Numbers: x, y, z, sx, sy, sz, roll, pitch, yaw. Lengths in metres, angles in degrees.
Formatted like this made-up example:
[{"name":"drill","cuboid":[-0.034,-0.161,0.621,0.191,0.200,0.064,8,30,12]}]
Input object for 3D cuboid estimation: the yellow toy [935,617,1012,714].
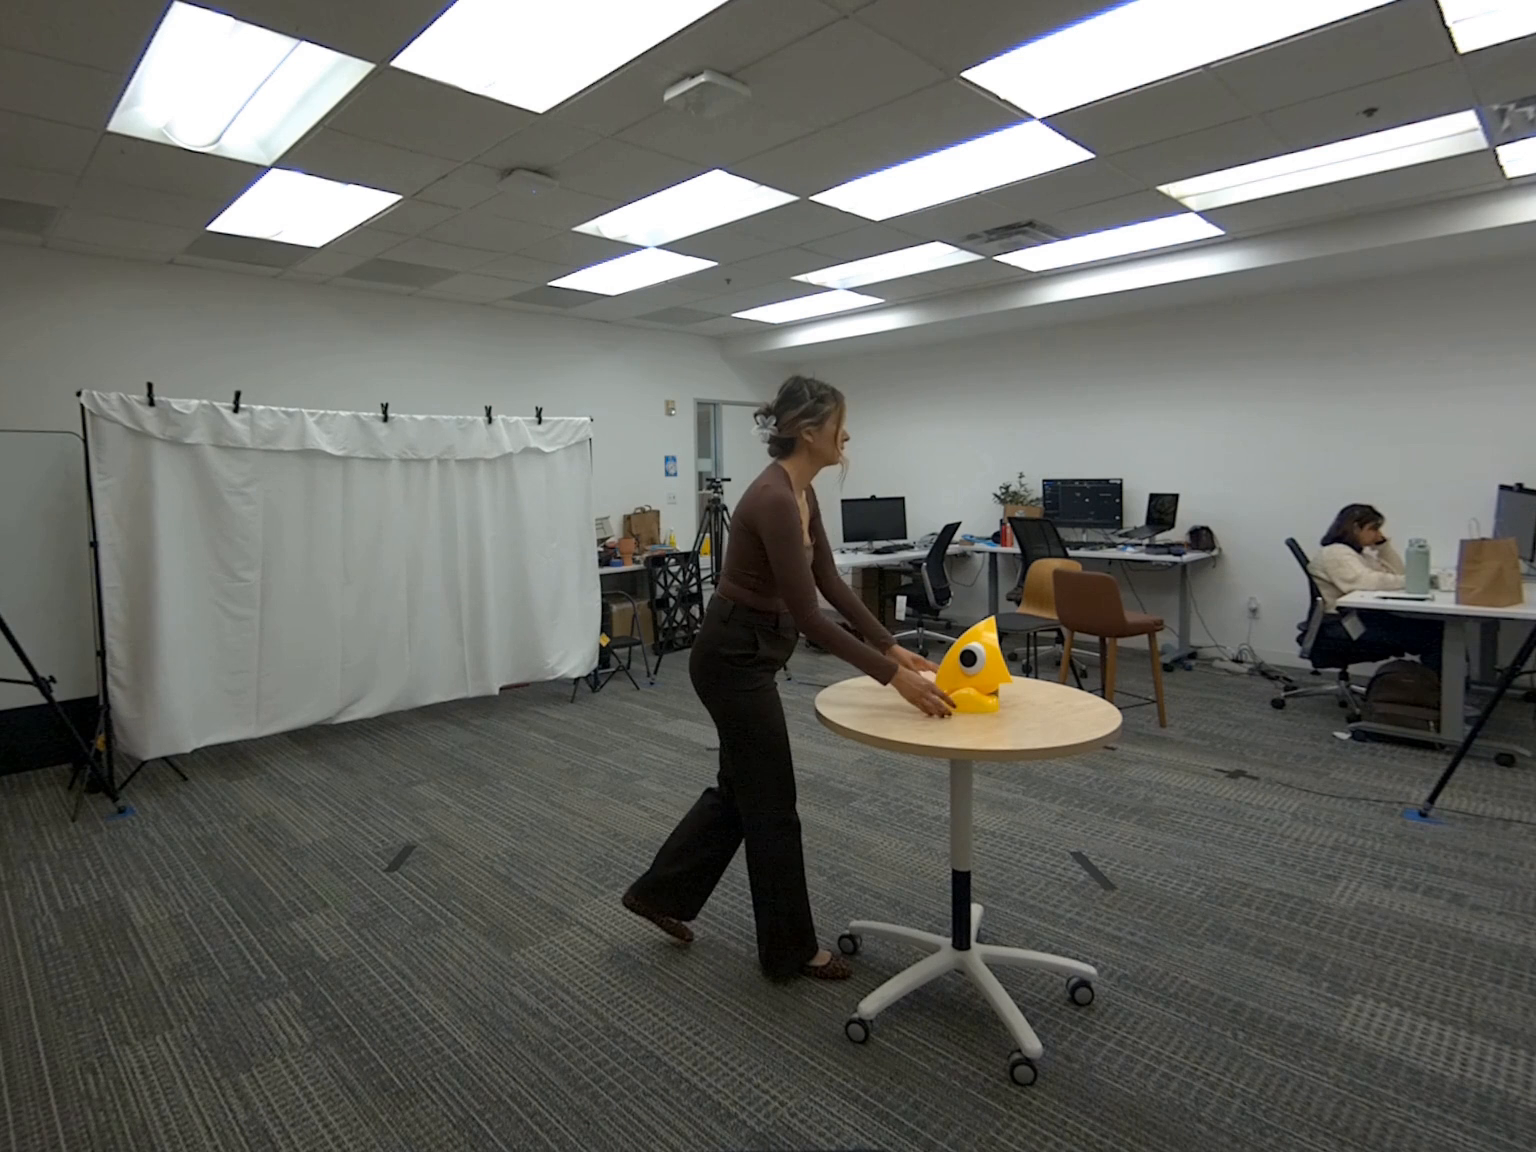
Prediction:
[{"name":"yellow toy","cuboid":[0.528,0.220,2.240,0.194,0.230,0.204,0,5,7]}]
